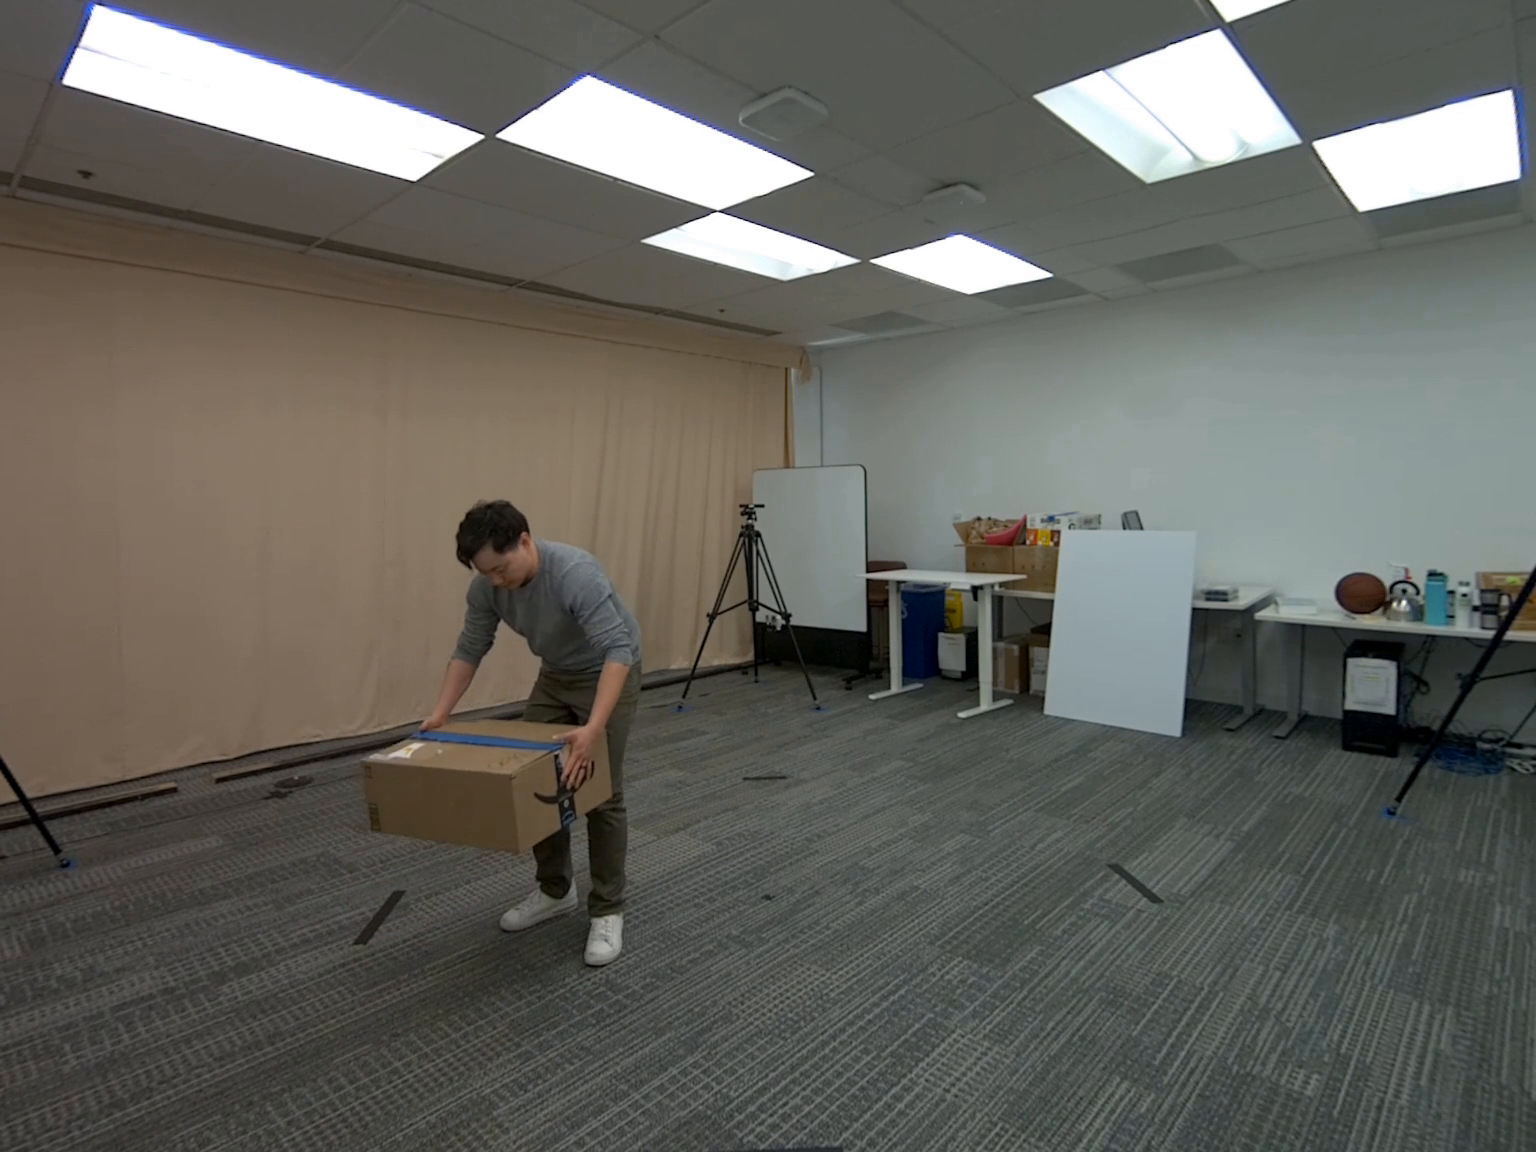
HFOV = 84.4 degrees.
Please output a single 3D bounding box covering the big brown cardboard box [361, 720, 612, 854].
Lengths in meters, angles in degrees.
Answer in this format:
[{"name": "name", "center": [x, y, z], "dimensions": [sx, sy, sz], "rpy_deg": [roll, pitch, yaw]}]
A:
[{"name": "big brown cardboard box", "center": [-0.822, 0.590, 2.474], "dimensions": [0.604, 0.232, 0.408], "rpy_deg": [-1, 7, 26]}]
